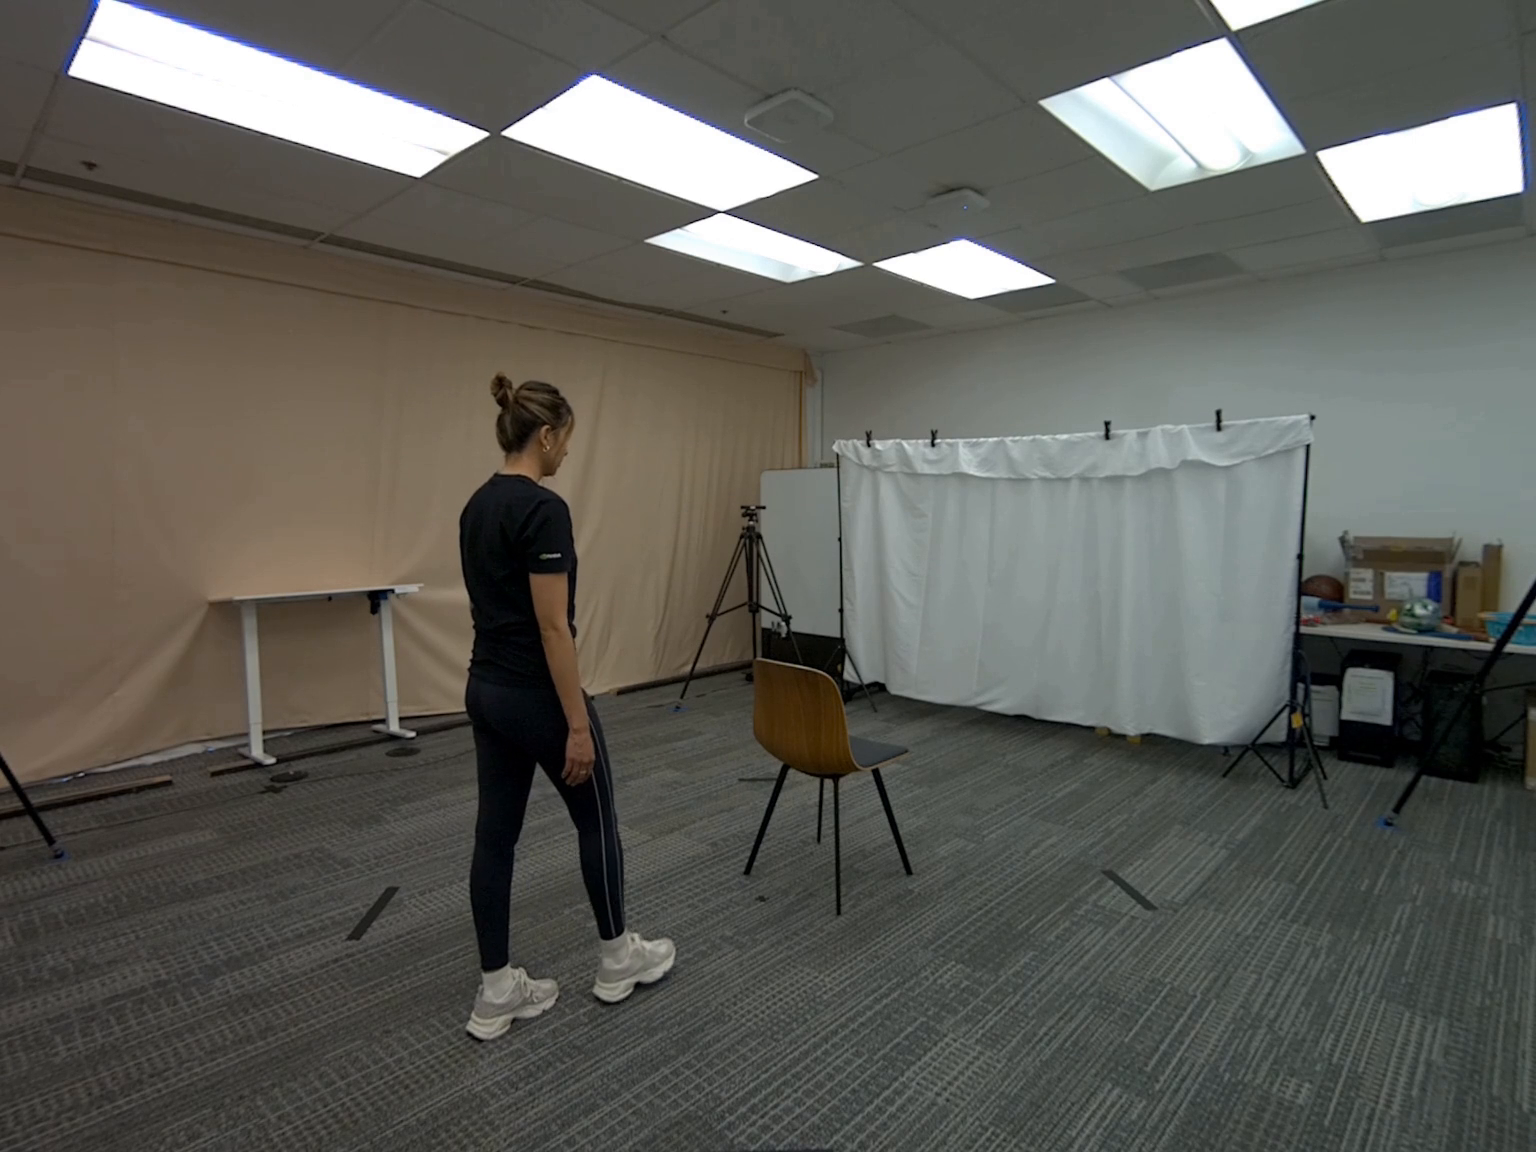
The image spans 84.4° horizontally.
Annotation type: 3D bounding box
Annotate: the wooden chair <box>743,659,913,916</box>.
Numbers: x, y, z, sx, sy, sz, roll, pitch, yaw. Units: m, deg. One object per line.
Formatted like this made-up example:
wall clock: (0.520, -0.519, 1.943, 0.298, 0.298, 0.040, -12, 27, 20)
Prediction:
wooden chair: (0.234, 0.700, 3.151, 0.494, 0.873, 0.508, 3, 9, 44)
